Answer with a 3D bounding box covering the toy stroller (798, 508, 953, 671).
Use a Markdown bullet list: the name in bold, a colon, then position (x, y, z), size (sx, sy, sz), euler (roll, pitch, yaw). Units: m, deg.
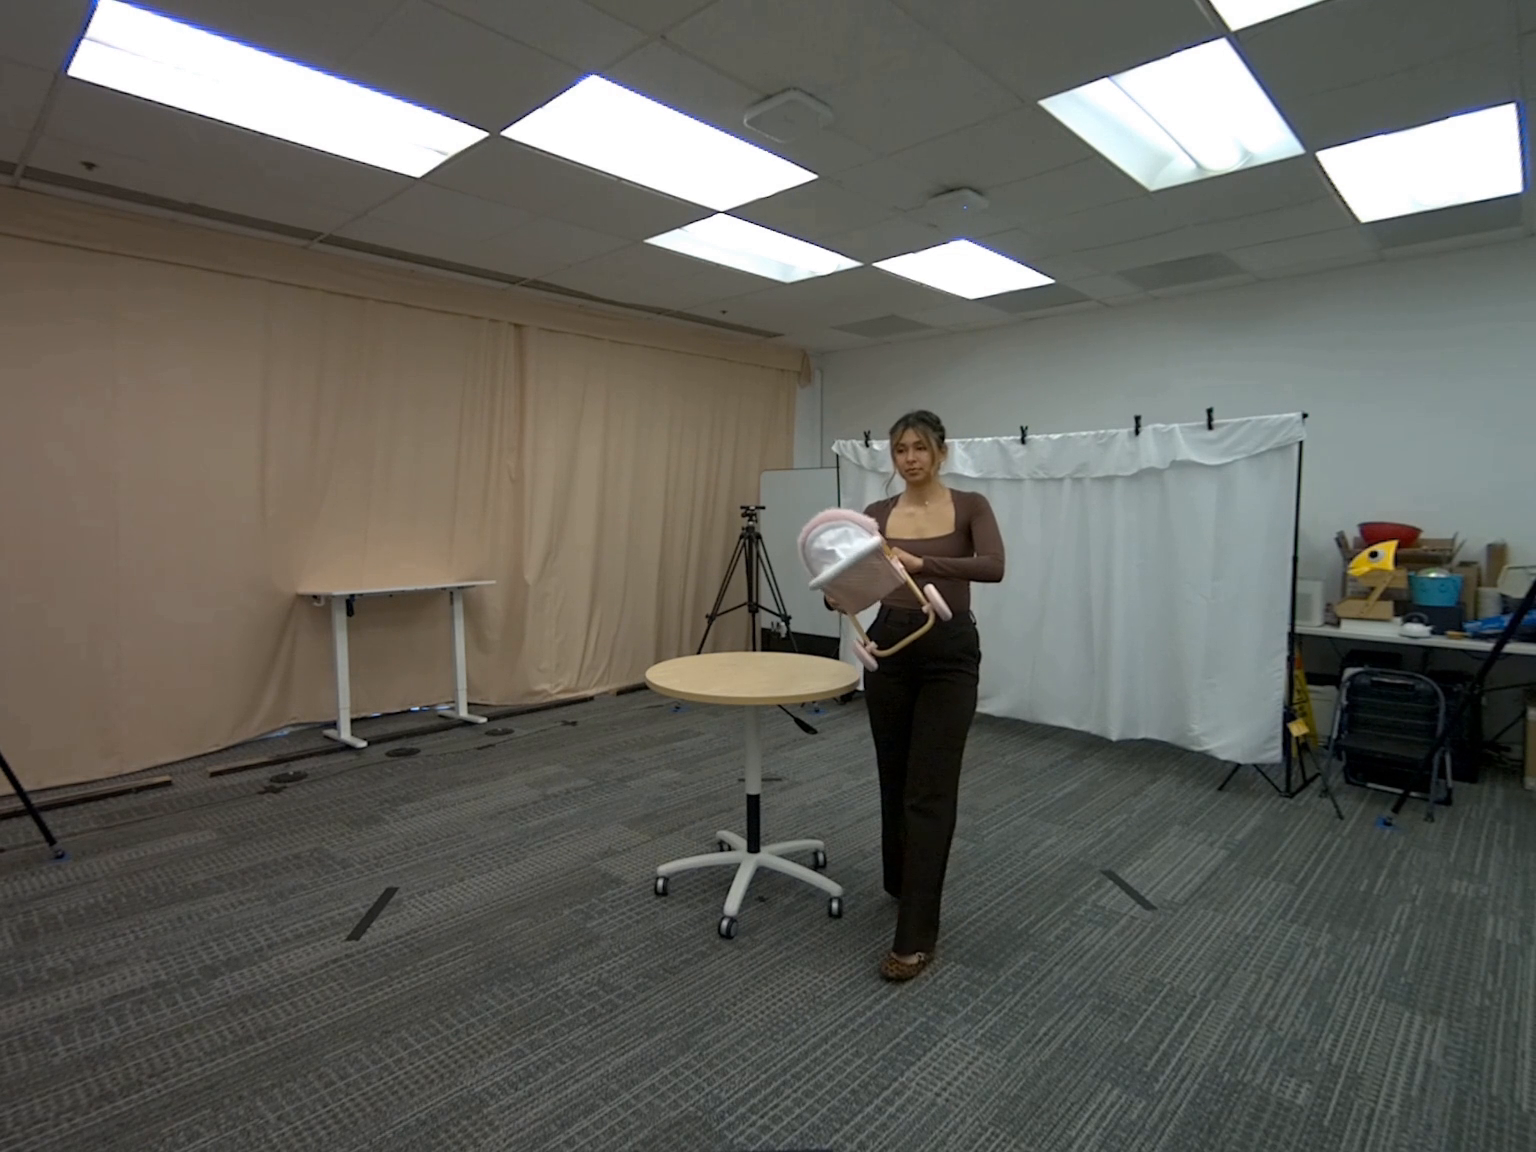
- **toy stroller**: position (0.259, -0.003, 2.279), size (0.283, 0.351, 0.516), euler (-34, -45, 12)
